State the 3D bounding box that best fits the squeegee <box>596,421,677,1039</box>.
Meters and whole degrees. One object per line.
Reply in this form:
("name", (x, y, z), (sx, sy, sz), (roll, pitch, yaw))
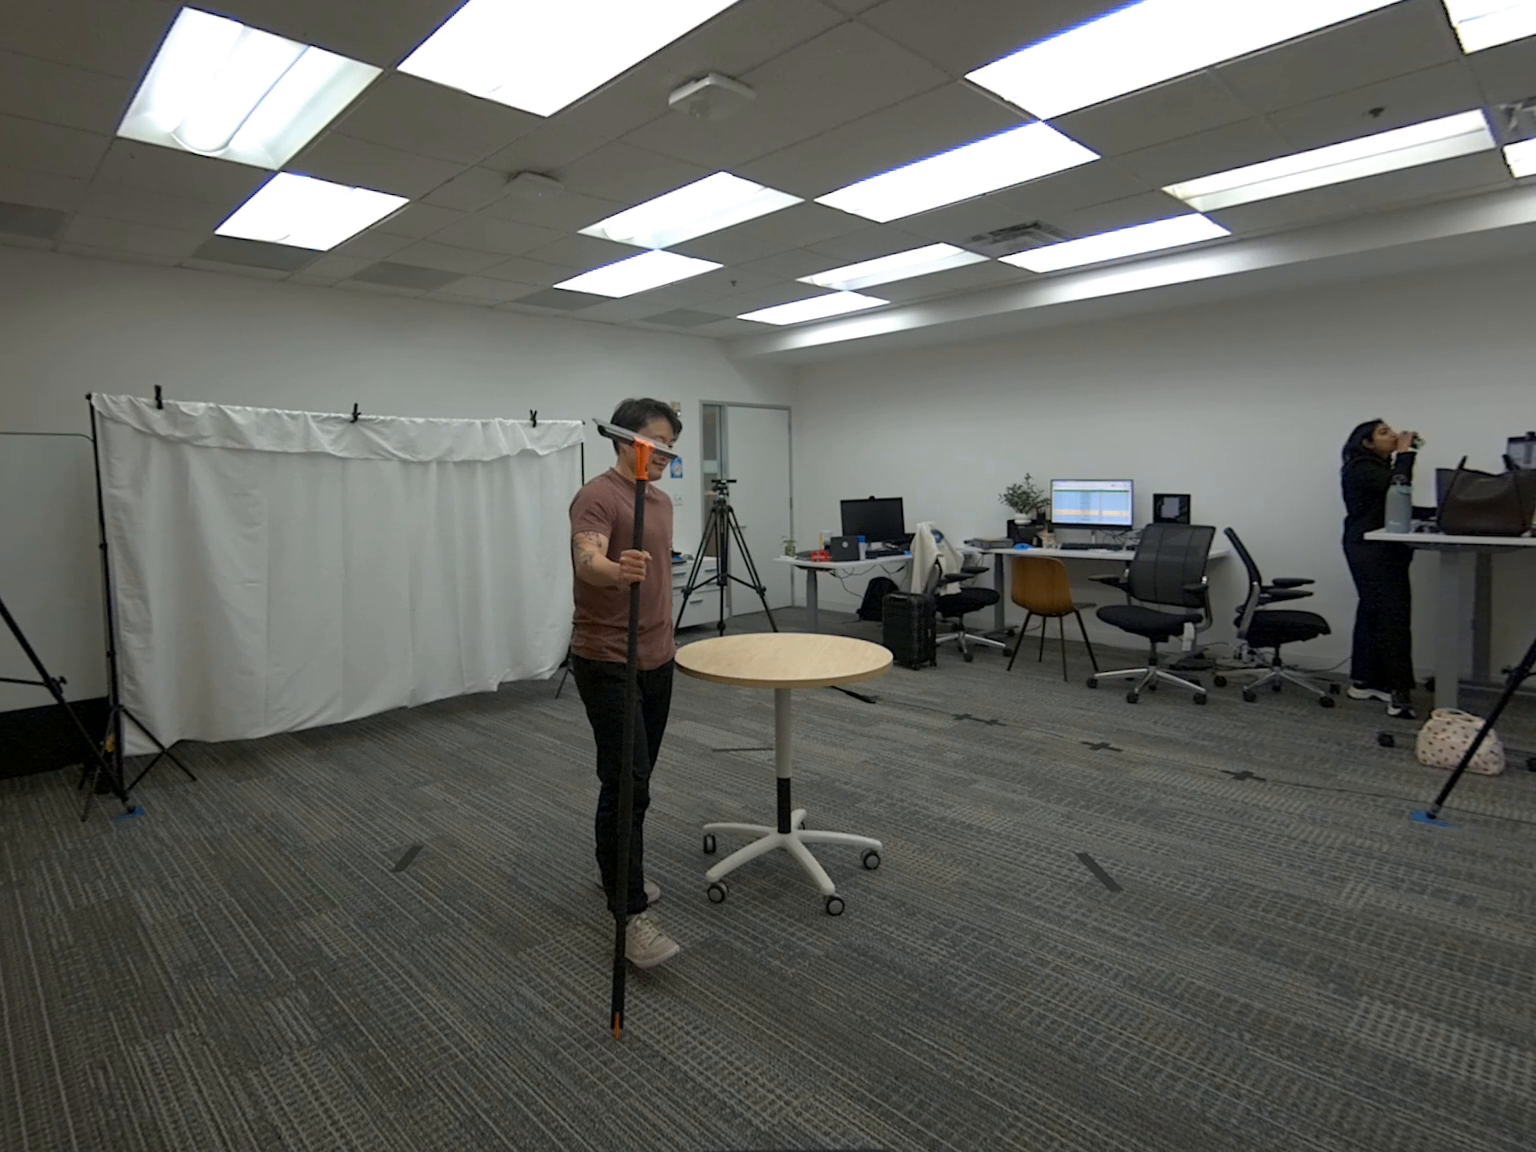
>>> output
("squeegee", (-0.351, 0.402, 2.189), (0.054, 1.539, 0.427), (1, -1, 22))
